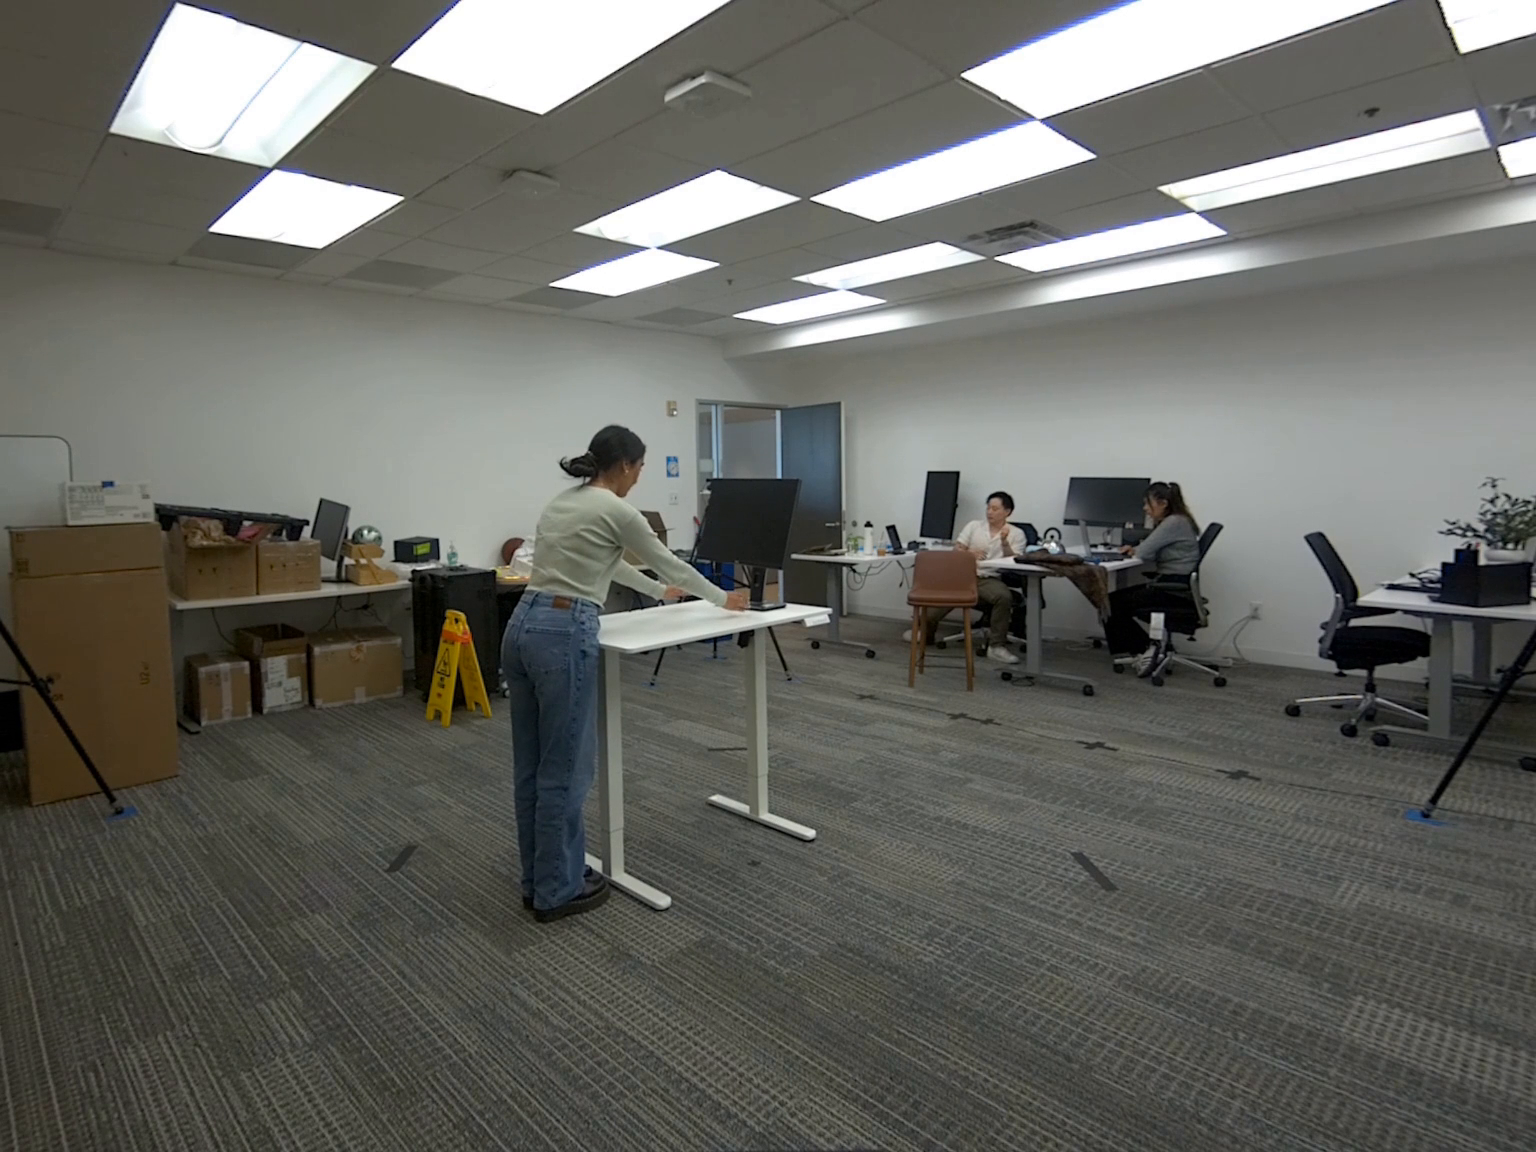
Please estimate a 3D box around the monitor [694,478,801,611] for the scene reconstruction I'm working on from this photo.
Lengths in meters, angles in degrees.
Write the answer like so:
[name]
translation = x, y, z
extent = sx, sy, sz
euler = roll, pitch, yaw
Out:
[monitor]
translation = -0.066, -0.131, 3.447
extent = 0.182, 0.521, 0.556
euler = -1, 5, -42
